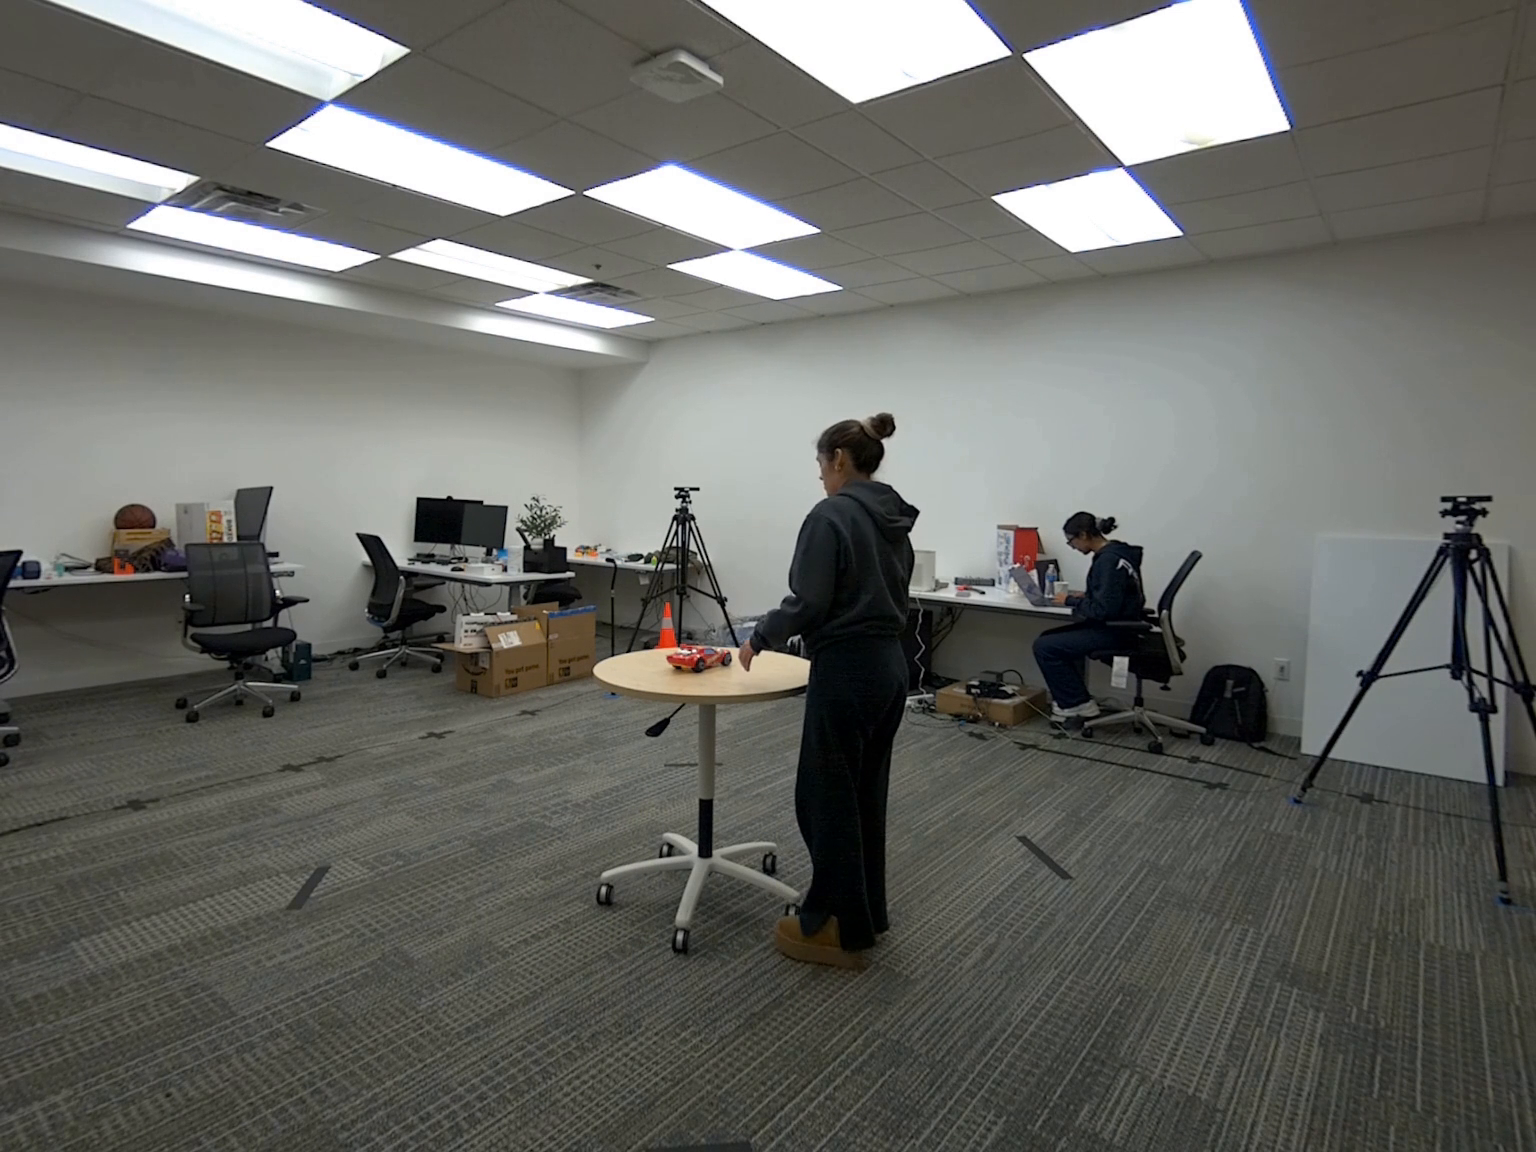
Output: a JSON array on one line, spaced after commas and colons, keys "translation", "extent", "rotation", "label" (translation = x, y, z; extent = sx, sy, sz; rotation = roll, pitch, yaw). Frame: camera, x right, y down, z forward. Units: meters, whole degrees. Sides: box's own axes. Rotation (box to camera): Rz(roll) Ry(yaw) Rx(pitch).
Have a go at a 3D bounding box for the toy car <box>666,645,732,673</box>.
[{"translation": [-0.241, 0.276, 2.864], "extent": [0.134, 0.083, 0.245], "rotation": [4, -4, 37], "label": "toy car"}]
